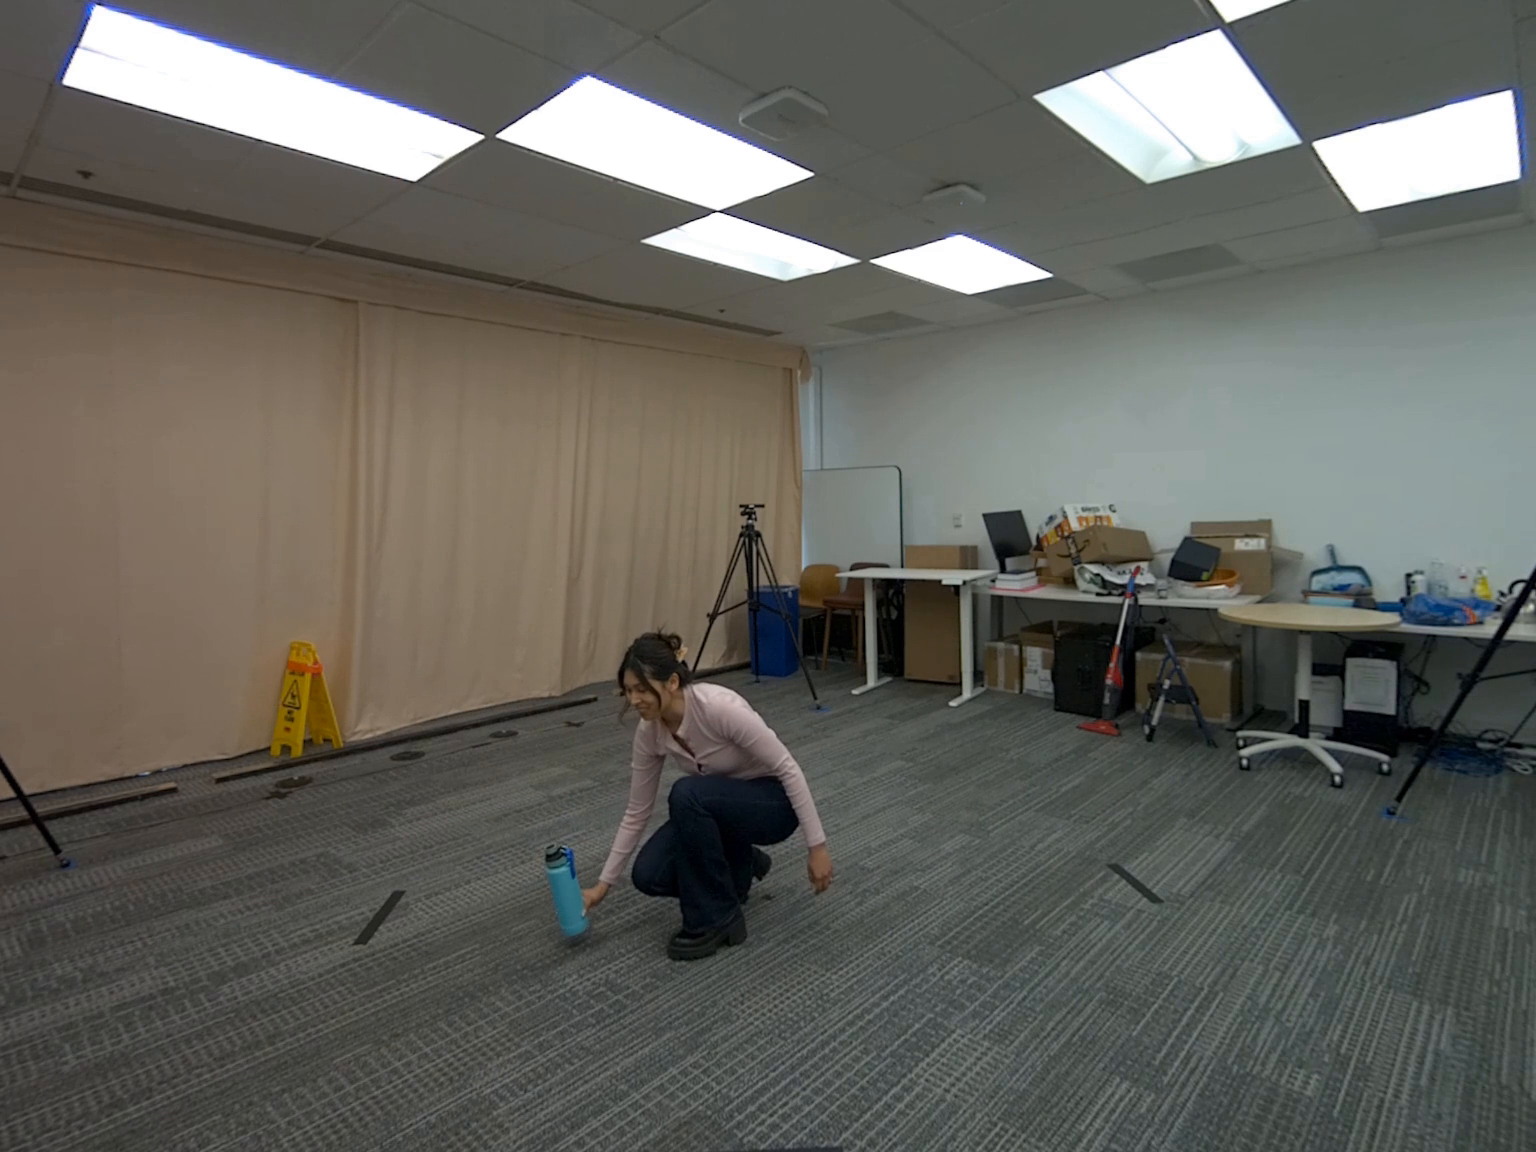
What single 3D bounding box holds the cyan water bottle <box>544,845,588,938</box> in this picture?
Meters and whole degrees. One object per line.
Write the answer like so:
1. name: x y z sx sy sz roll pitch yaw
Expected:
1. cyan water bottle: -0.643 0.989 2.669 0.092 0.282 0.093 -10 7 0
